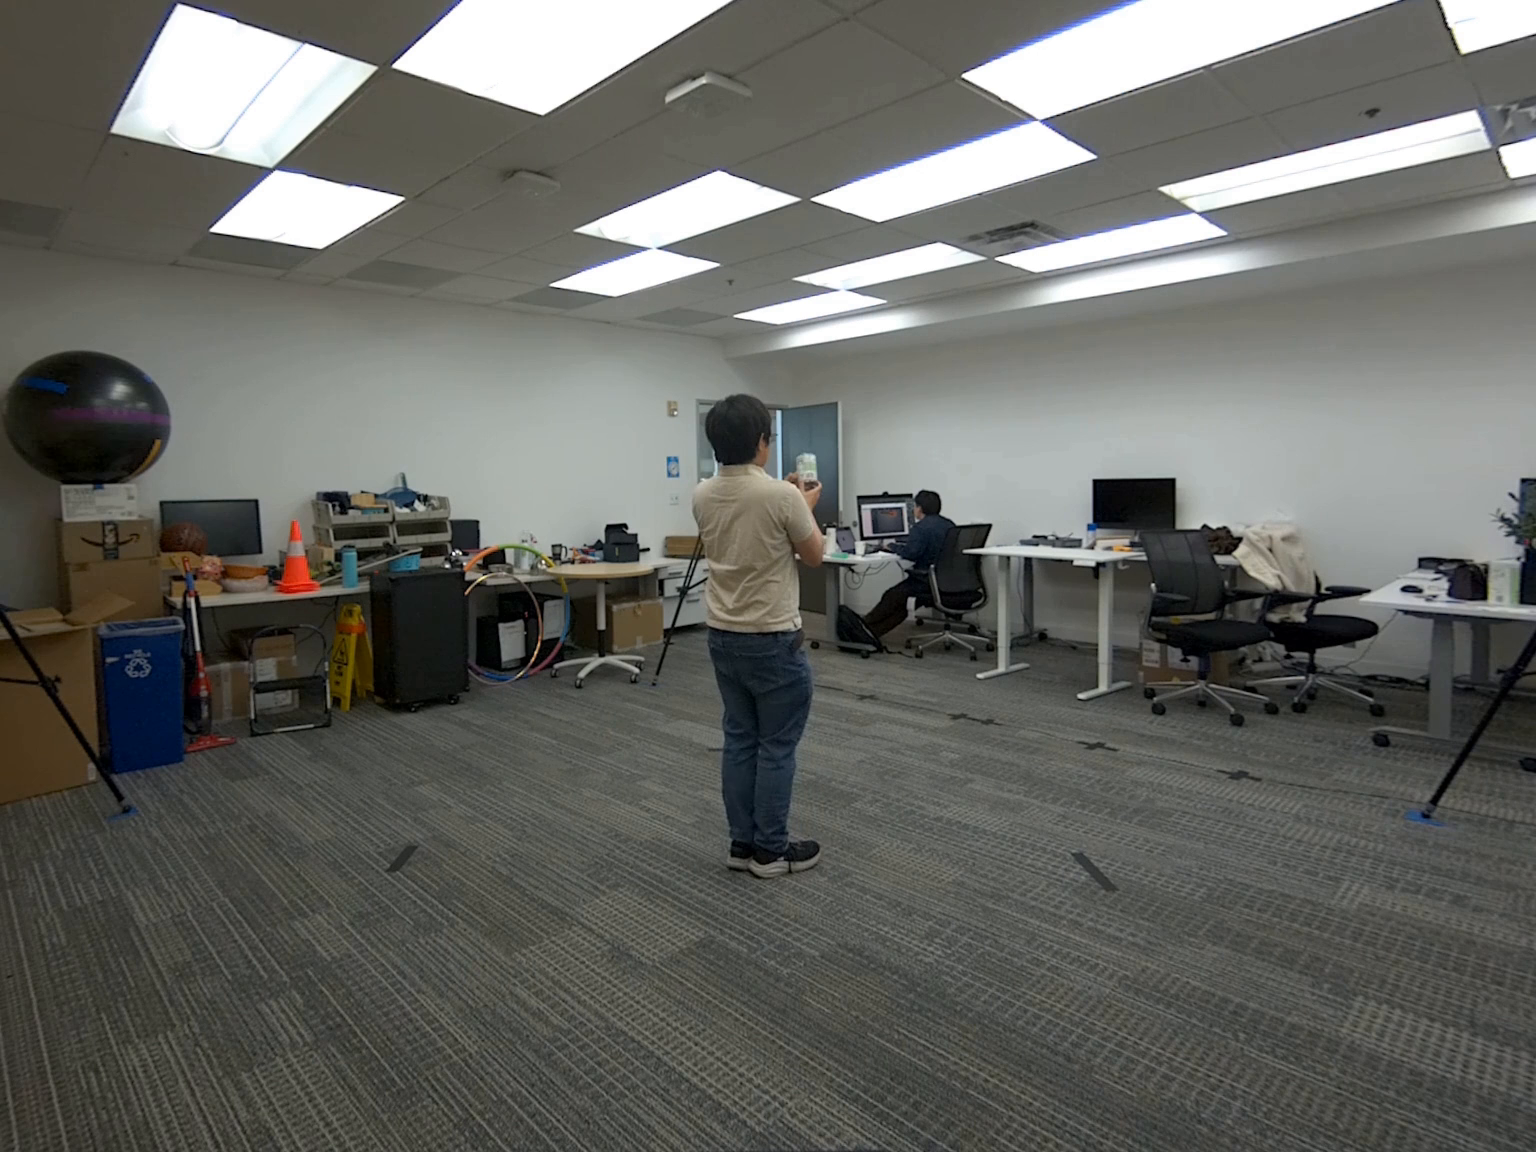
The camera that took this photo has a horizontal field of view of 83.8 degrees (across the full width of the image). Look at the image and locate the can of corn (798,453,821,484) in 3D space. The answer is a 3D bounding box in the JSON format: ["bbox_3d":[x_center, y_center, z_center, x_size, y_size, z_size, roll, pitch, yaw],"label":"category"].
[{"bbox_3d":[0.157,-0.407,3.263,0.074,0.112,0.073,0,-9,-2],"label":"can of corn"}]
